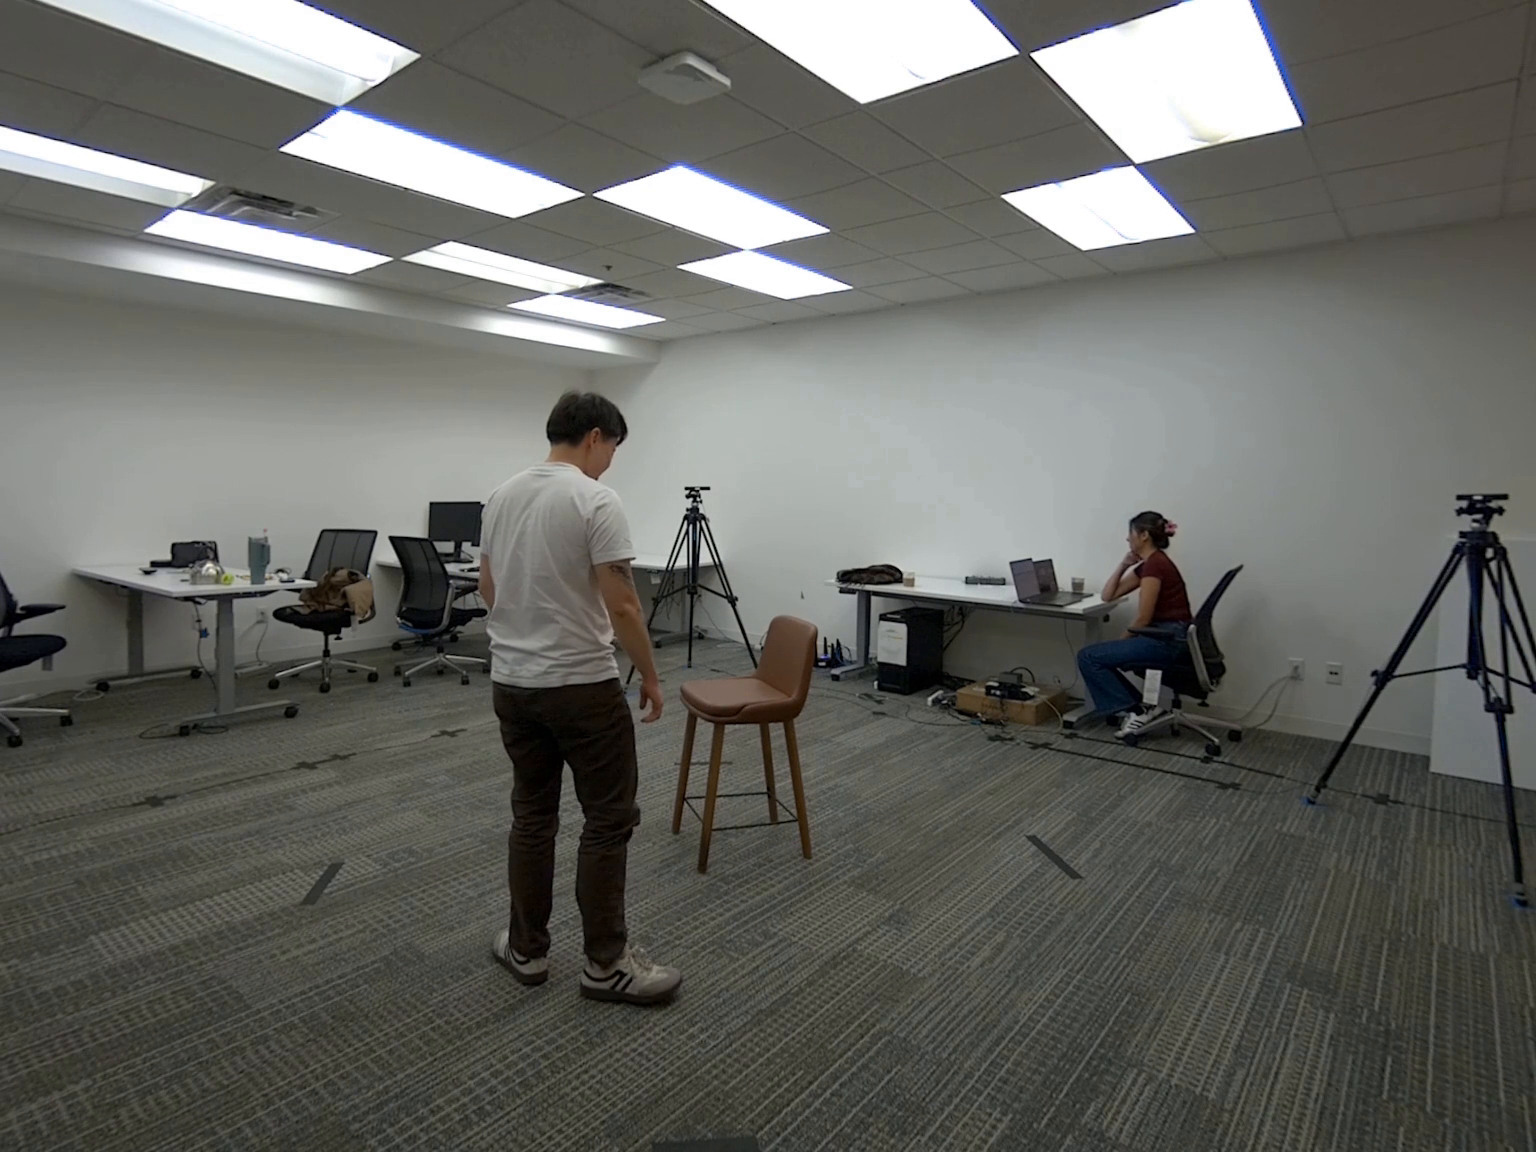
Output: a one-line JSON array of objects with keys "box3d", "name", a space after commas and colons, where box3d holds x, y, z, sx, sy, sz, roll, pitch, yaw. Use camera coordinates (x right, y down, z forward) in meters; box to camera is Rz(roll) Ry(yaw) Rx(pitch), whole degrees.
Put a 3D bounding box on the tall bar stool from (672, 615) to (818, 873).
[{"box3d": [-0.103, 0.611, 3.300, 0.458, 0.888, 0.467, 2, 3, -20], "name": "tall bar stool"}]
